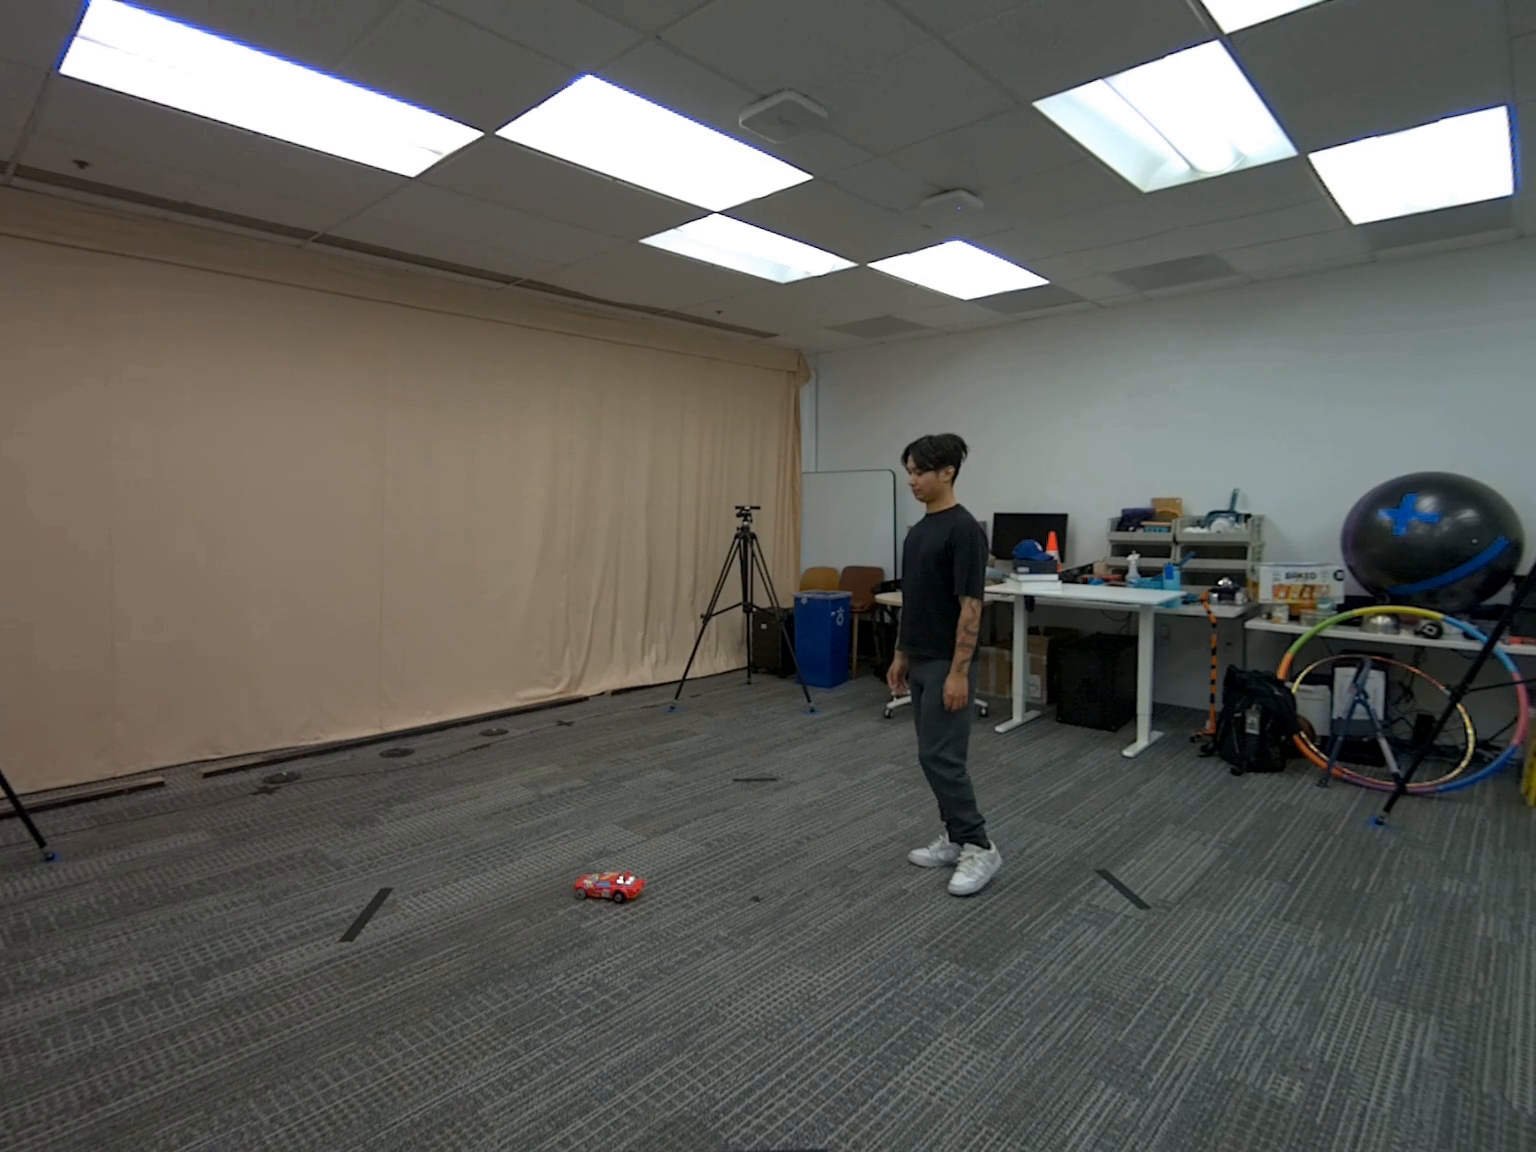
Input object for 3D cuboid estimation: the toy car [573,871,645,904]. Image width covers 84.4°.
[{"bbox_3d":[-0.568,1.118,3.012,0.258,0.083,0.129,-9,3,14],"label":"toy car"}]
